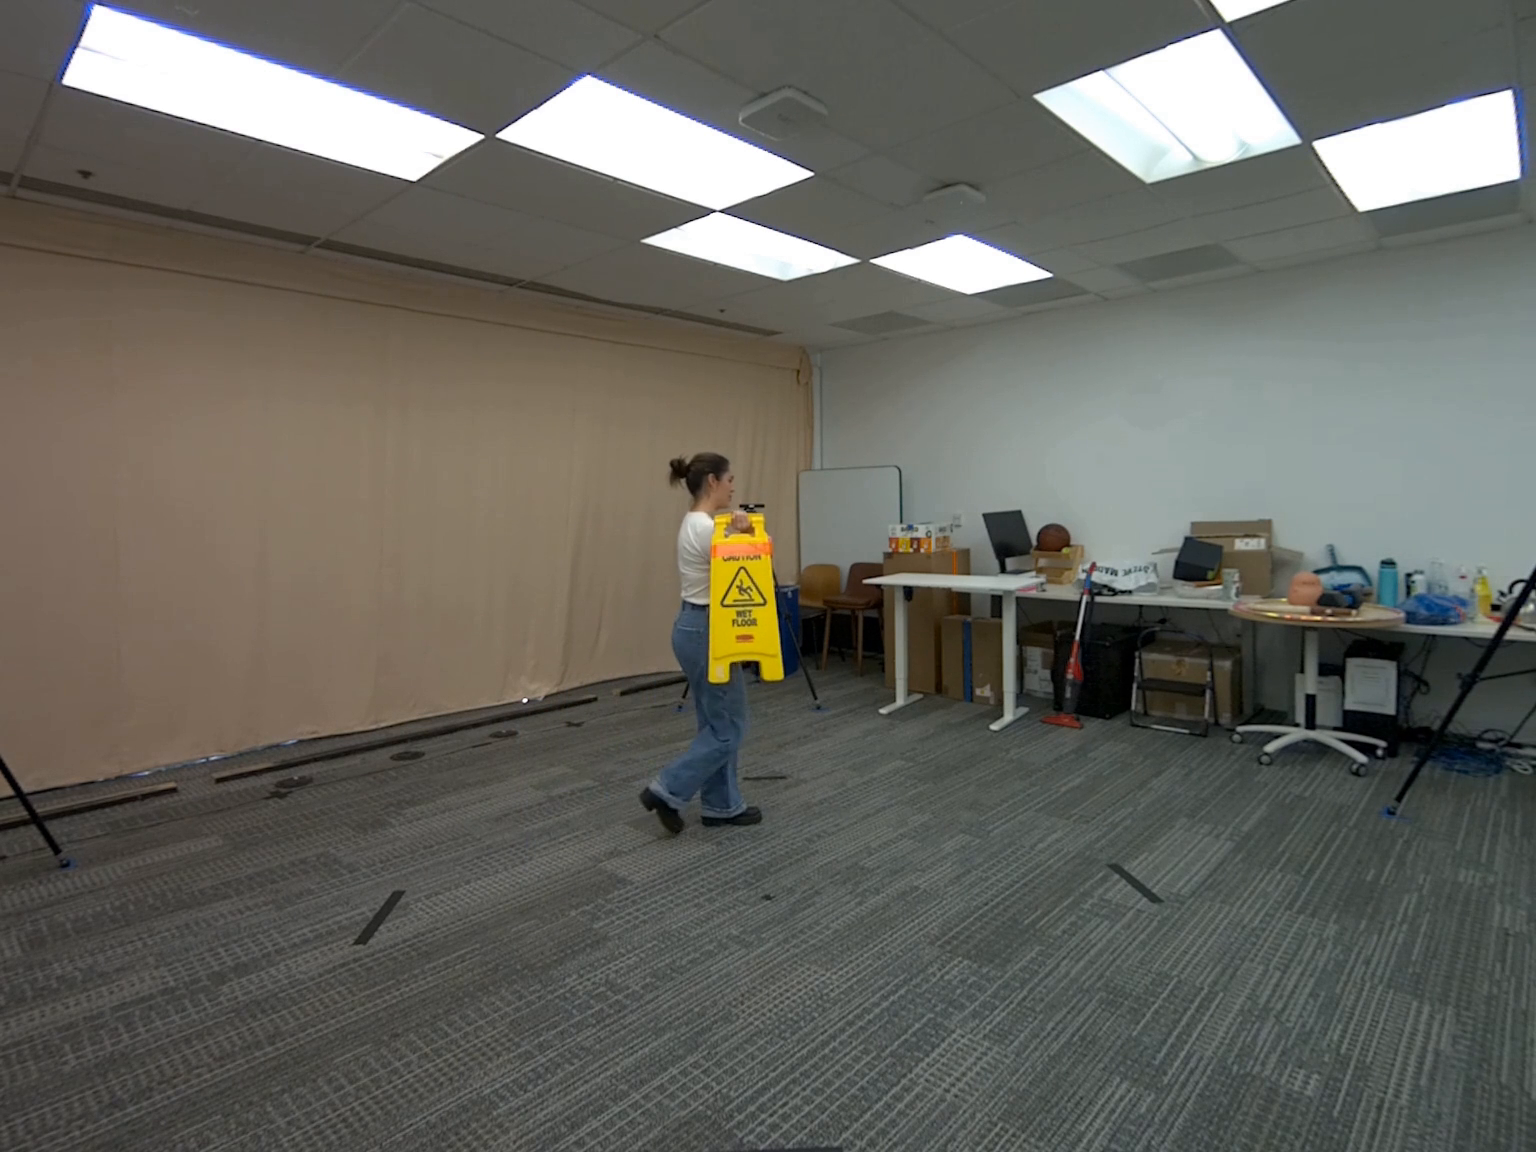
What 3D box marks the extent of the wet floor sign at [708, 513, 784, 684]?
[{"bbox_3d":[-0.102,0.082,3.292,0.282,0.648,0.289,0,-5,-1],"label":"wet floor sign"}]
